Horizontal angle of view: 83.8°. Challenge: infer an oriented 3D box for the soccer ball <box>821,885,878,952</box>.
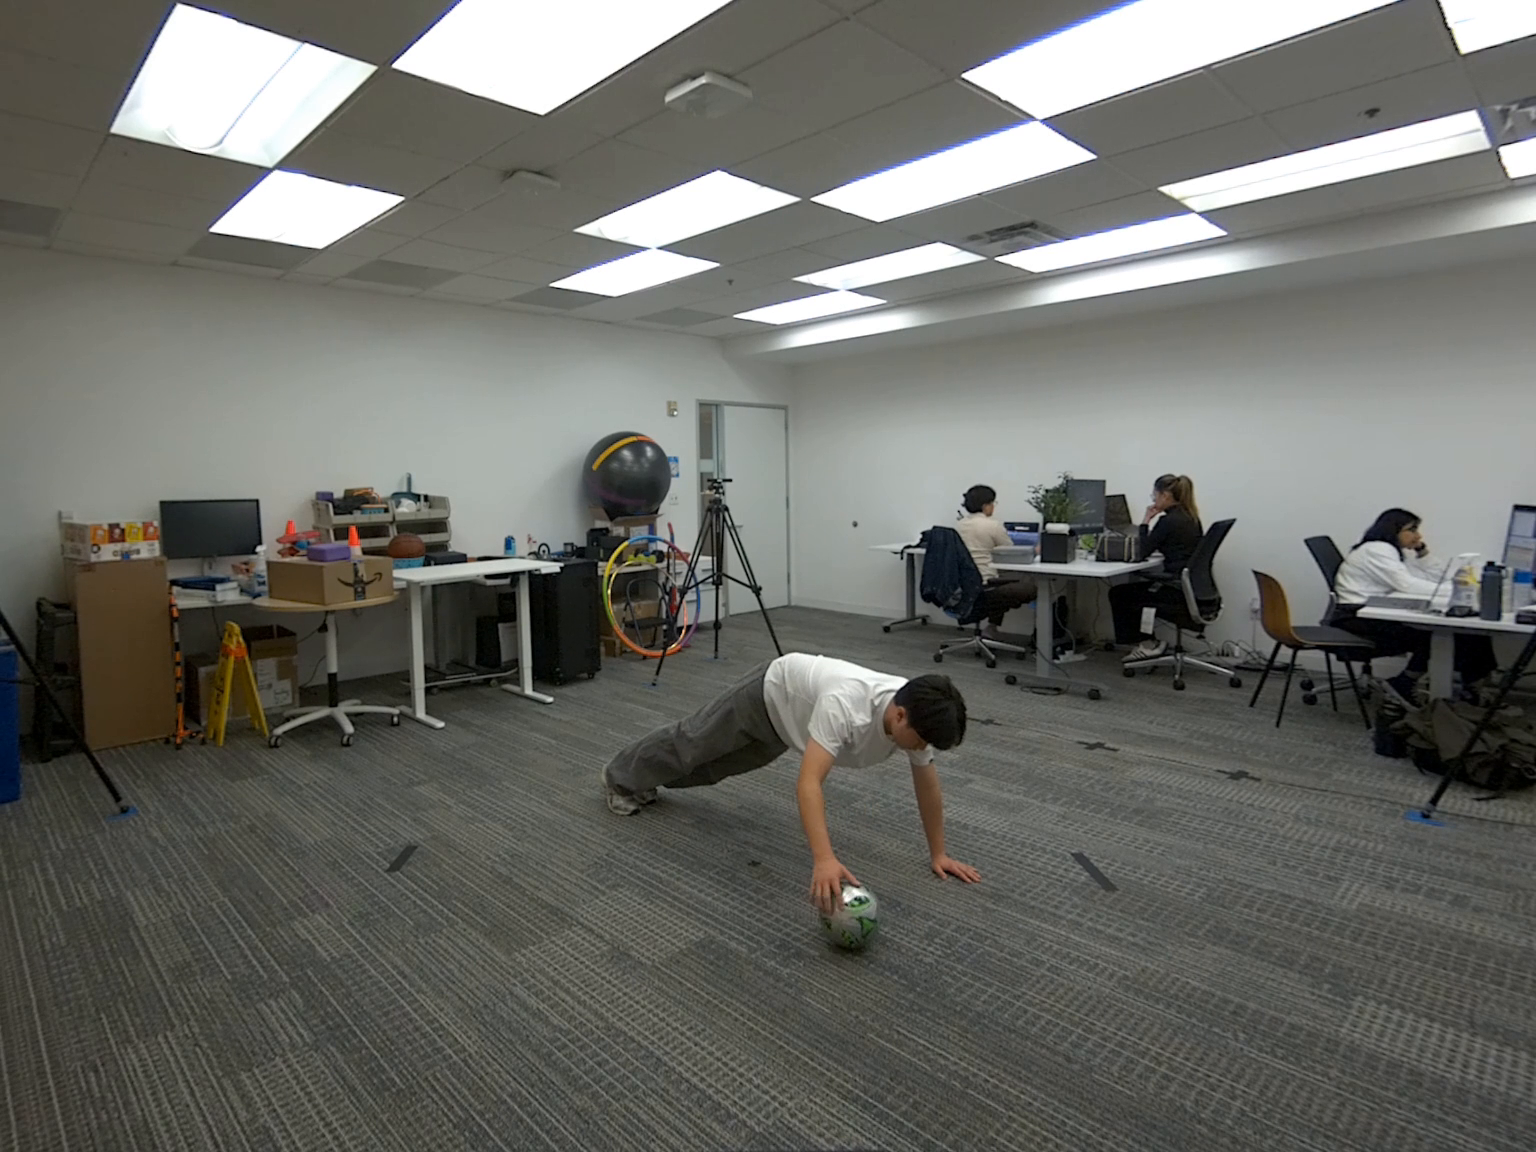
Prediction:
[{"bbox_3d":[0.244,1.017,2.554,0.187,0.187,0.188,-1,5,-2],"label":"soccer ball"}]
